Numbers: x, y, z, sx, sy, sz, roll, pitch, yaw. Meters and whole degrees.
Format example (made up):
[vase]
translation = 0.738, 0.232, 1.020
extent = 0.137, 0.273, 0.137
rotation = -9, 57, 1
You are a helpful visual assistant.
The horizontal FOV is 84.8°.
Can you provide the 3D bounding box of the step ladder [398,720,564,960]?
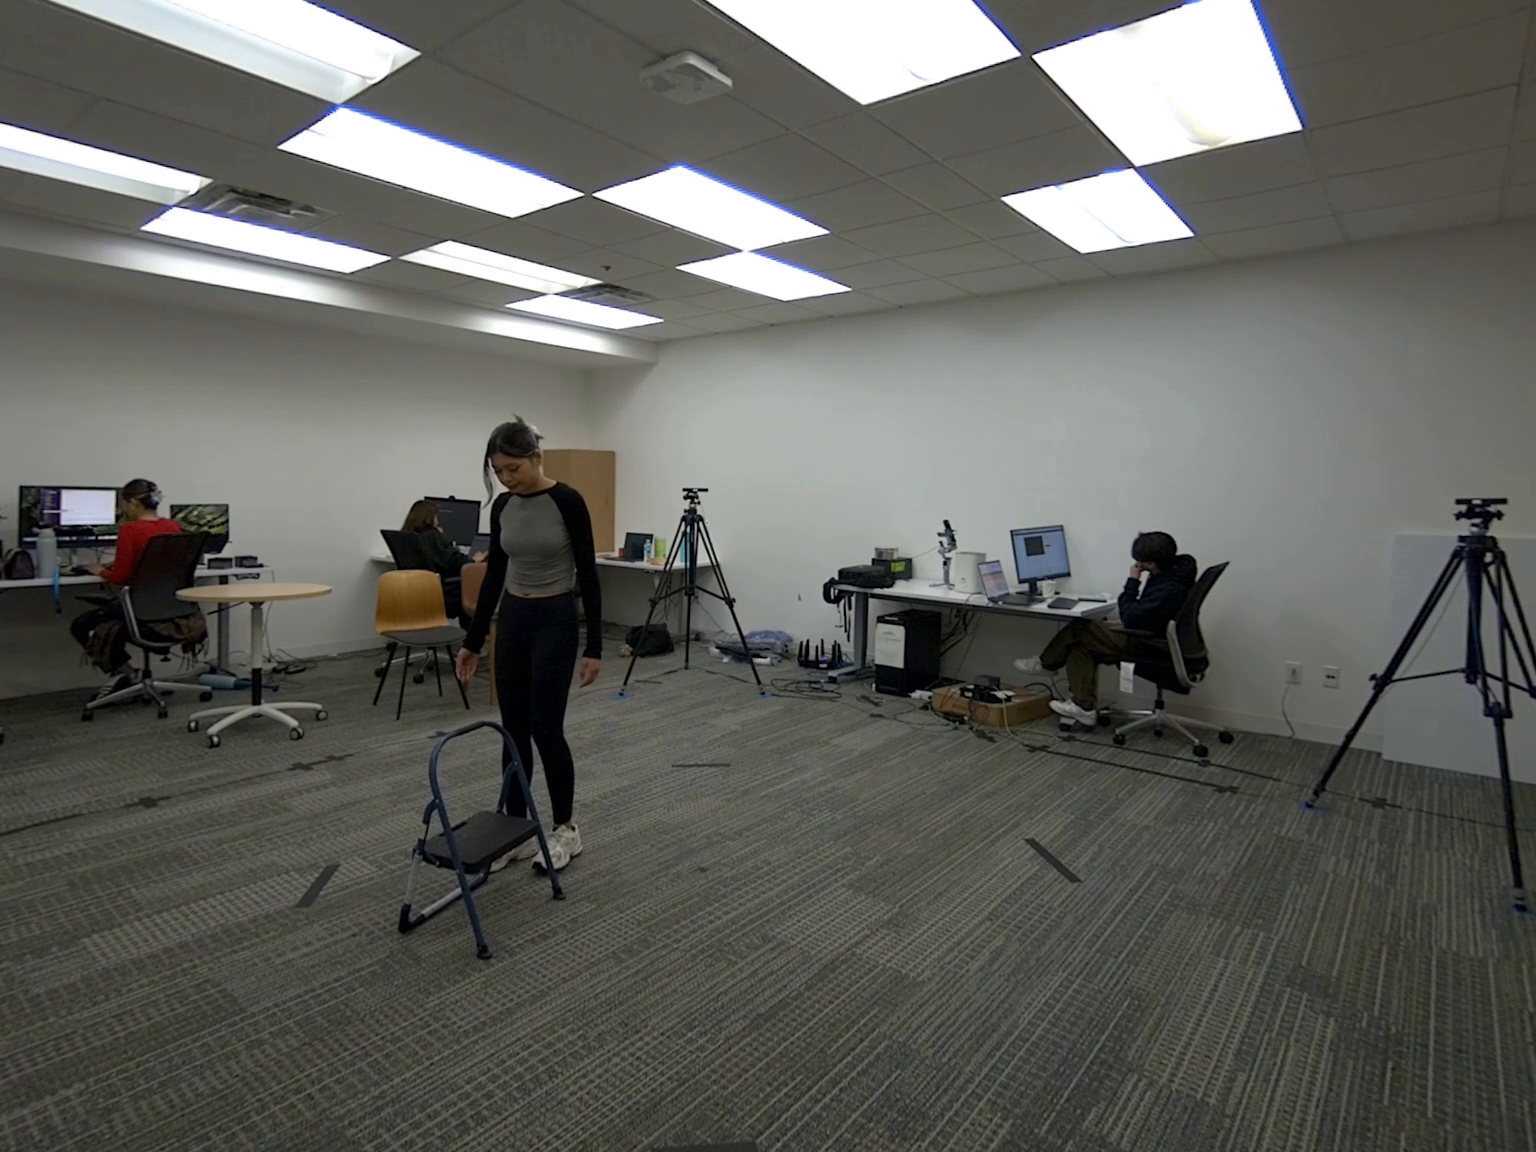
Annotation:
[step ladder]
translation = -0.925, 0.793, 2.736
extent = 0.357, 0.604, 0.422
rotation = 2, 3, 21
